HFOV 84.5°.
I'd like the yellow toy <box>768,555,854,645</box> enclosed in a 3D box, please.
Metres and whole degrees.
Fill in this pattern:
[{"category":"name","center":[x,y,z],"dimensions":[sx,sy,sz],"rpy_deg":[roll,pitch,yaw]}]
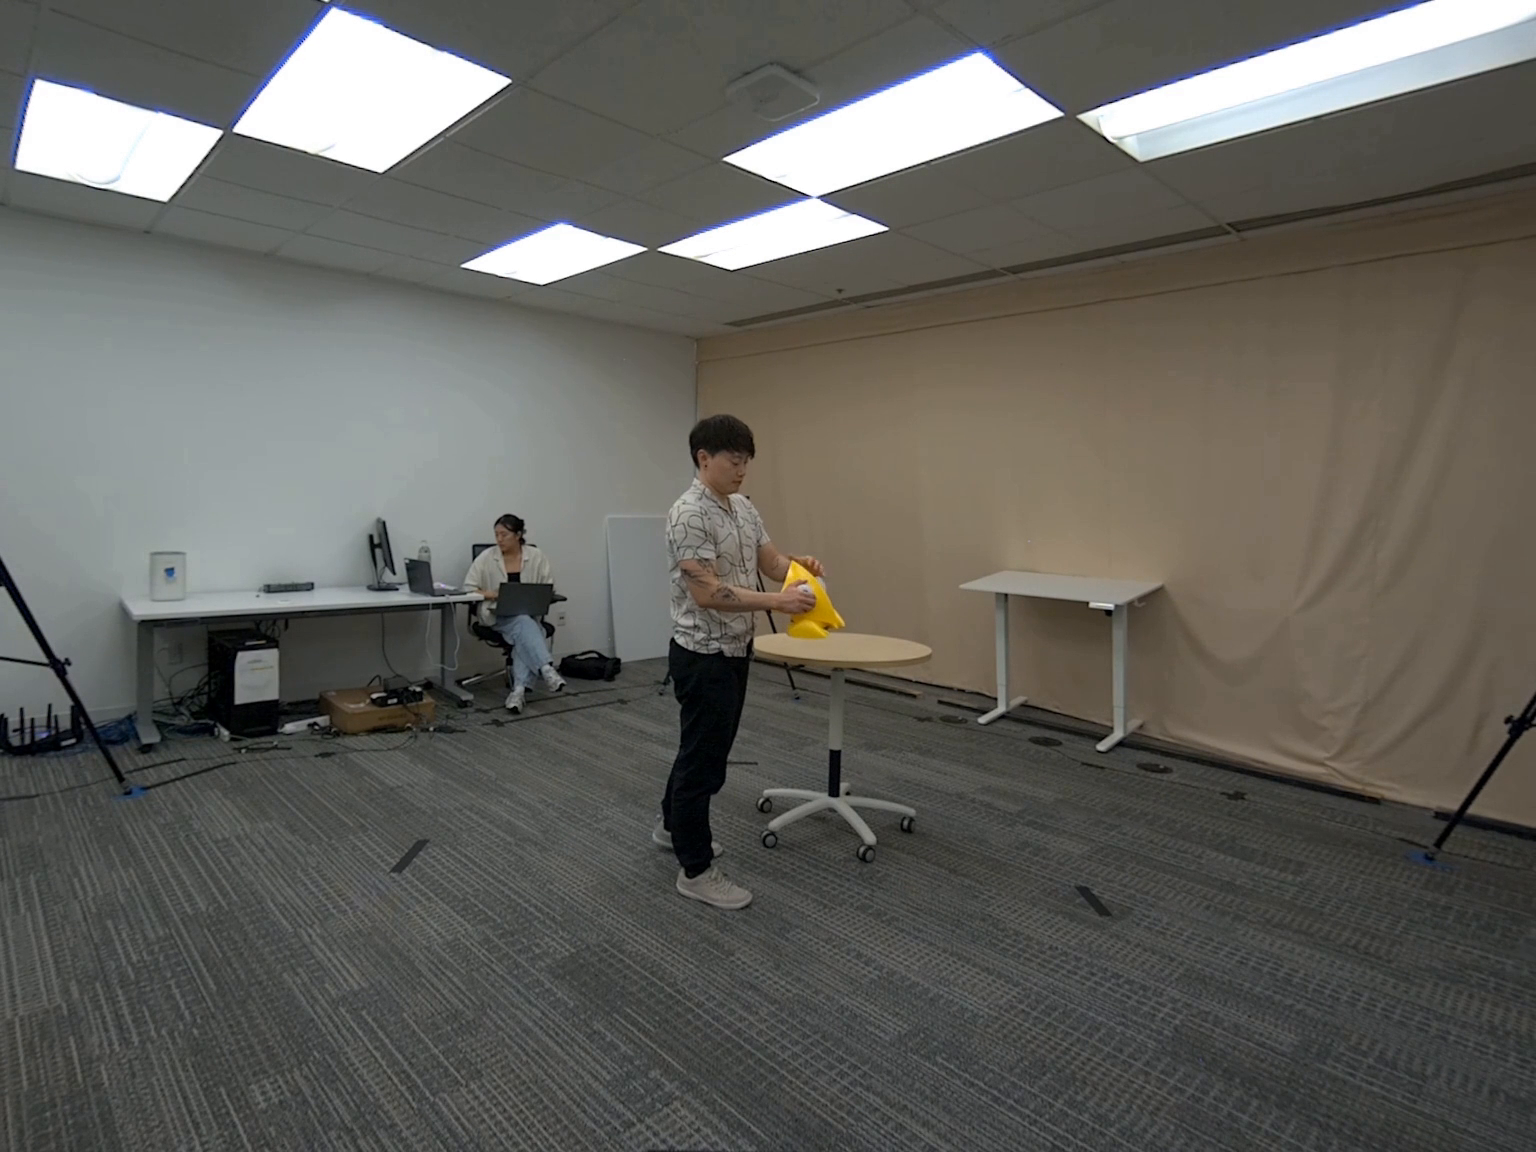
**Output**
[{"category":"yellow toy","center":[0.140,0.071,2.780],"dimensions":[0.197,0.228,0.202],"rpy_deg":[4,15,32]}]
